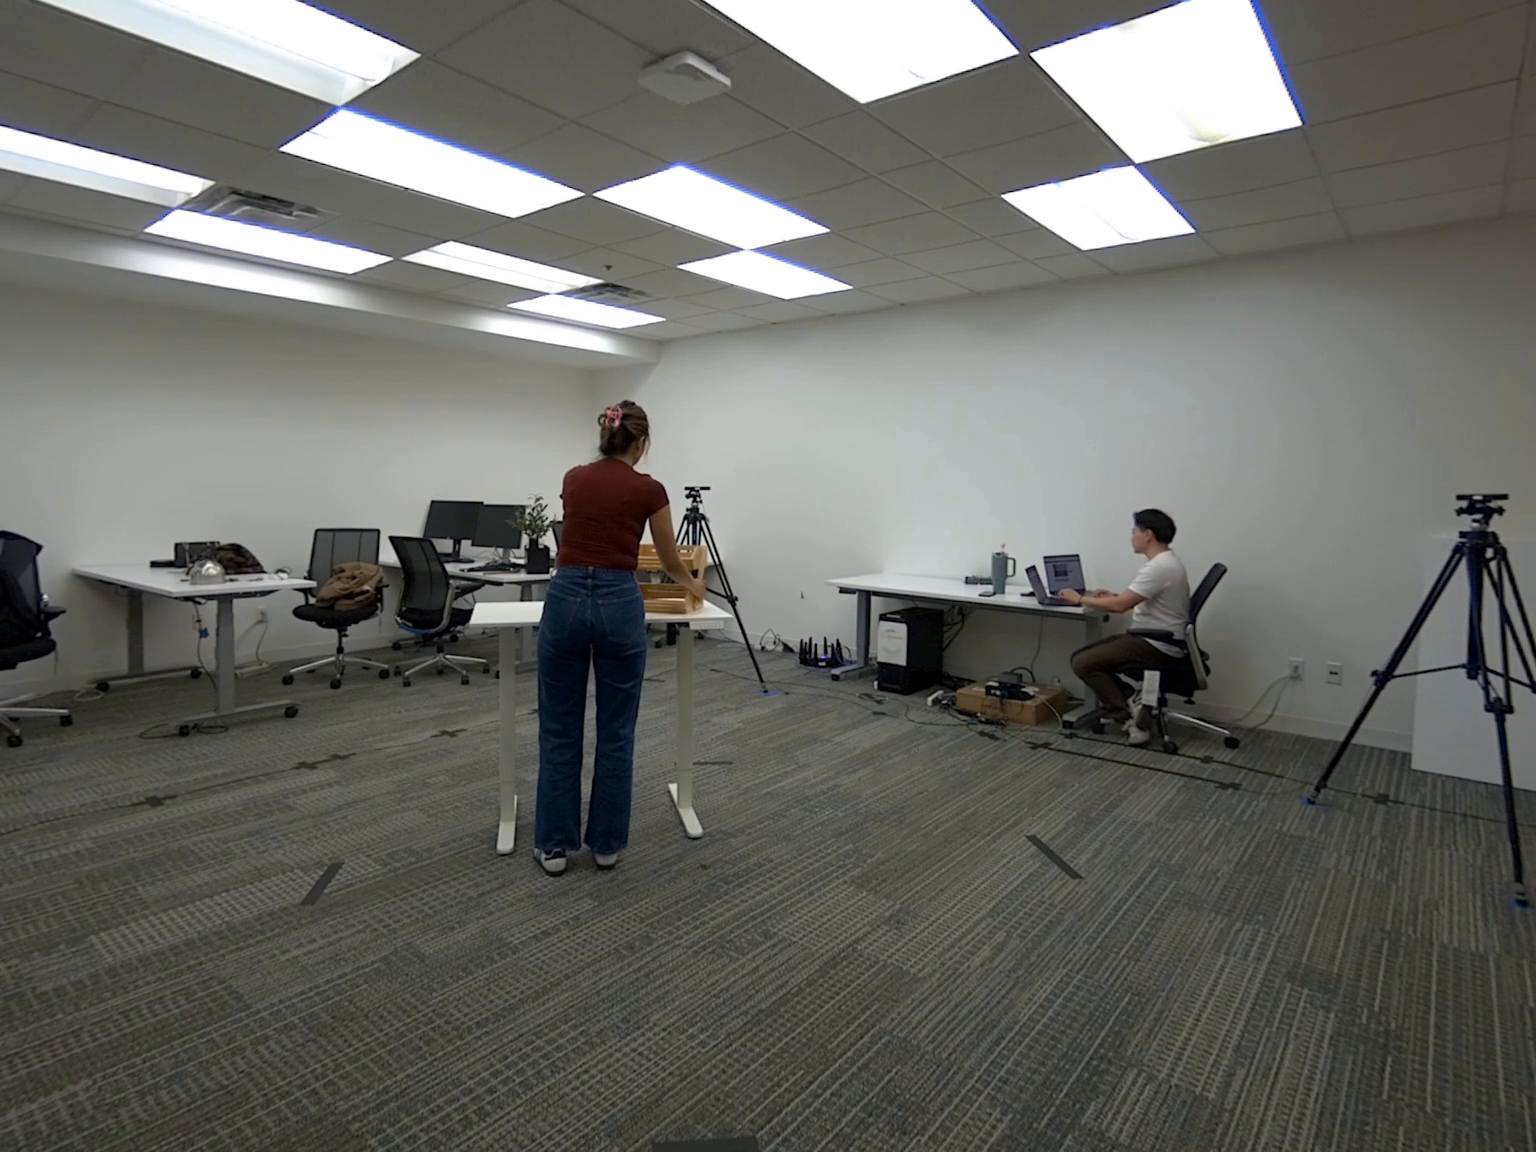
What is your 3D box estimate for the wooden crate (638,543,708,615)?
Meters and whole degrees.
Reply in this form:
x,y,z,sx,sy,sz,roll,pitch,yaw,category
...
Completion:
x,y,z,sx,sy,sz,roll,pitch,yaw,category
-0.459,0.006,3.550,0.330,0.272,0.298,1,5,14,wooden crate
